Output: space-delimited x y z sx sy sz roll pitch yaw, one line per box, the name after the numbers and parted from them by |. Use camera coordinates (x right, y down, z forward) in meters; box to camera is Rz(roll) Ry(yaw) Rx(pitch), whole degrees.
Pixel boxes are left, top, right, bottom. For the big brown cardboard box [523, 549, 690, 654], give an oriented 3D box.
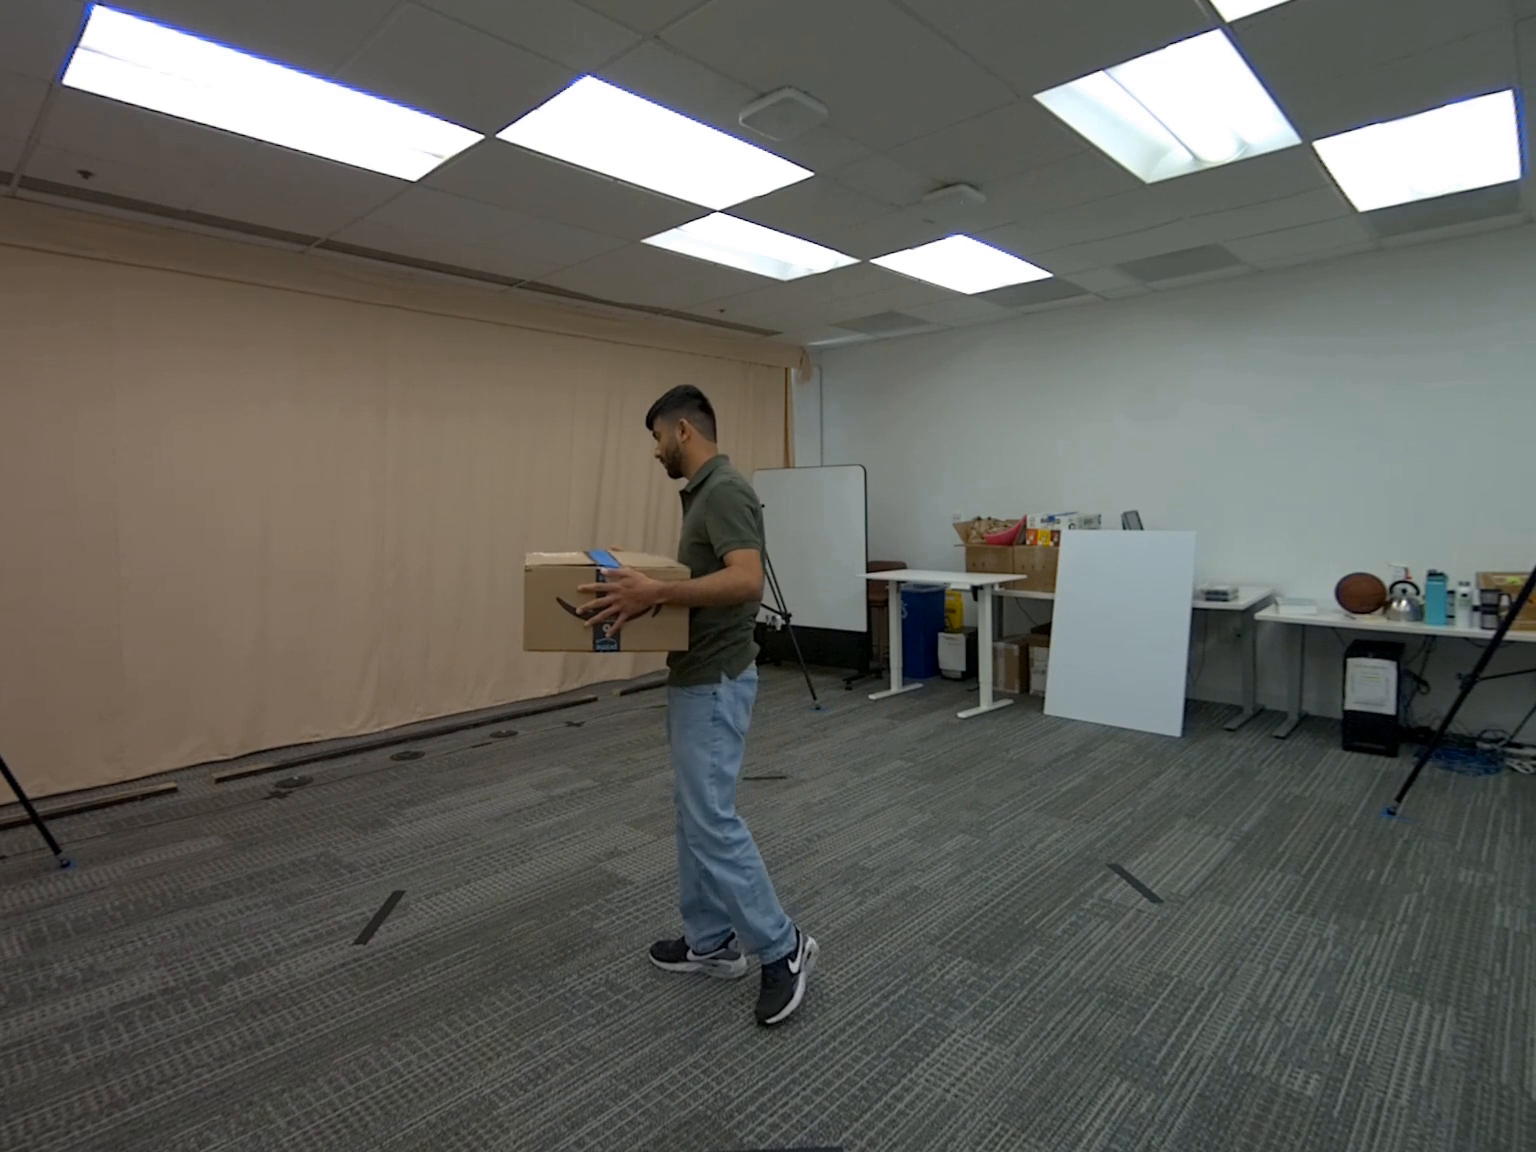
-0.475 0.057 2.385 0.412 0.232 0.598 1 5 -14 | big brown cardboard box
